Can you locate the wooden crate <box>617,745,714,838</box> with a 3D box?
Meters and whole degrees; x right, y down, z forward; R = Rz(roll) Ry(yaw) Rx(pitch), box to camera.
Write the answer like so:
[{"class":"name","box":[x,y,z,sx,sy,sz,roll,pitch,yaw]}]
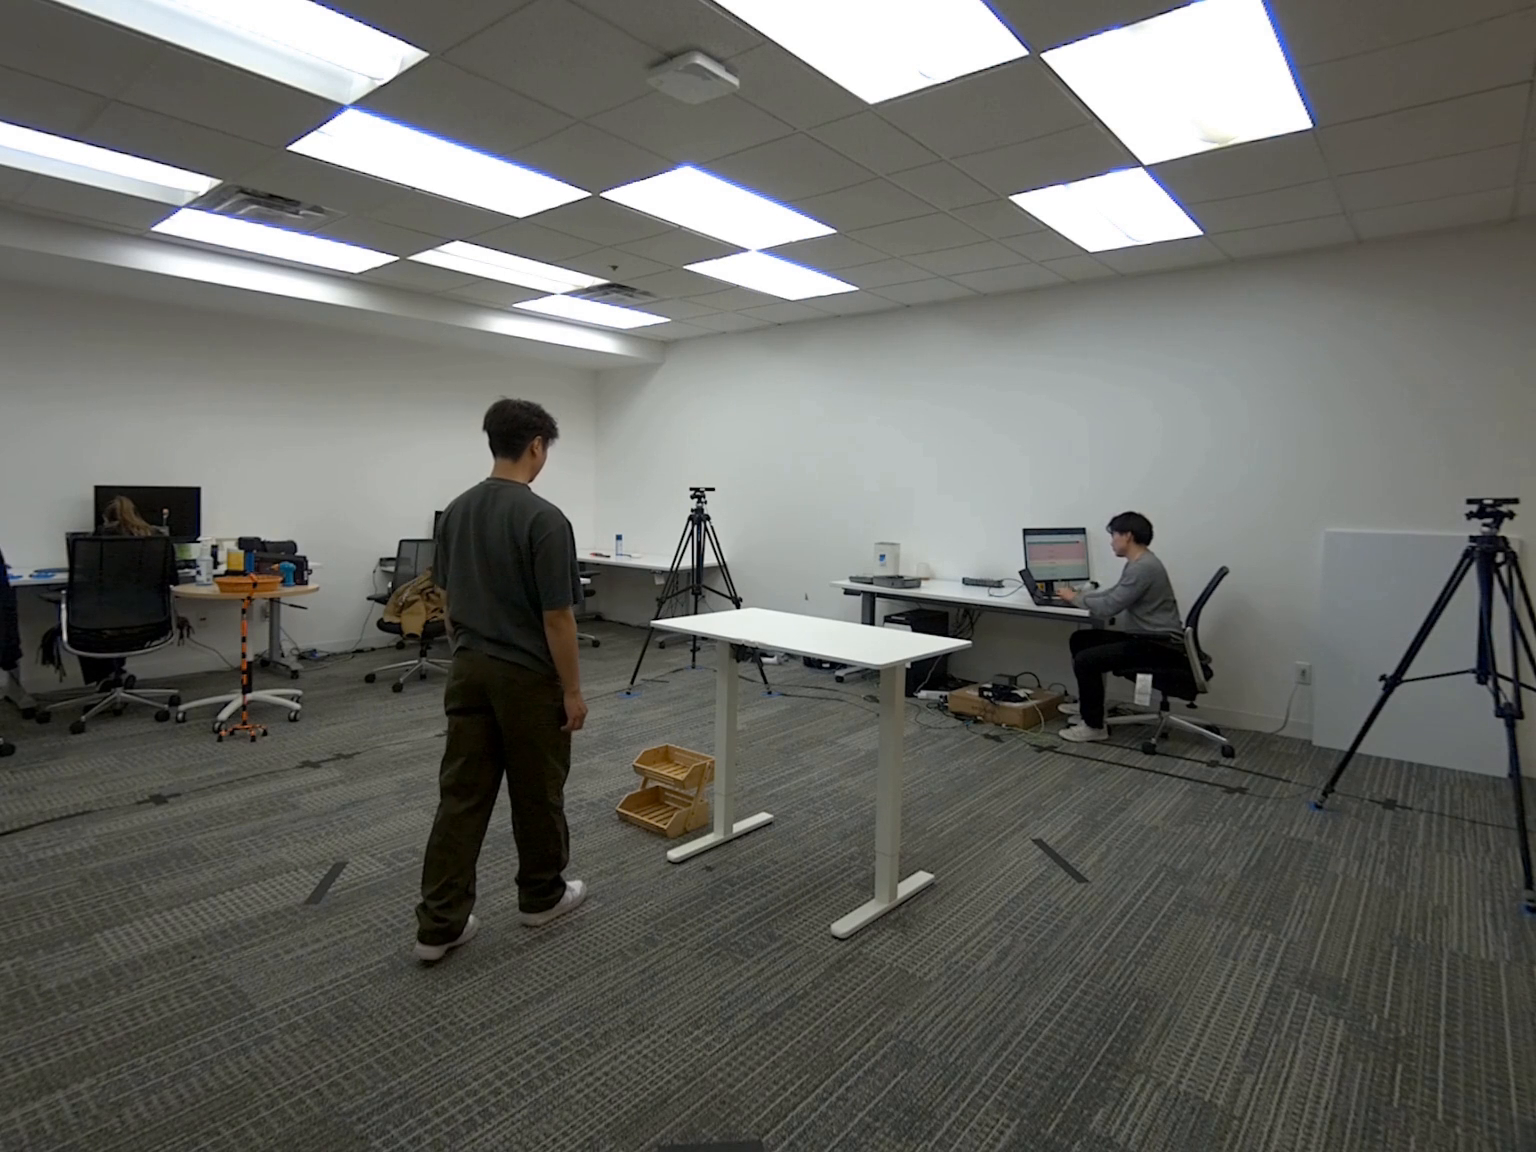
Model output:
[{"class":"wooden crate","box":[-0.435,0.885,3.561,0.335,0.272,0.293,5,5,39]}]
